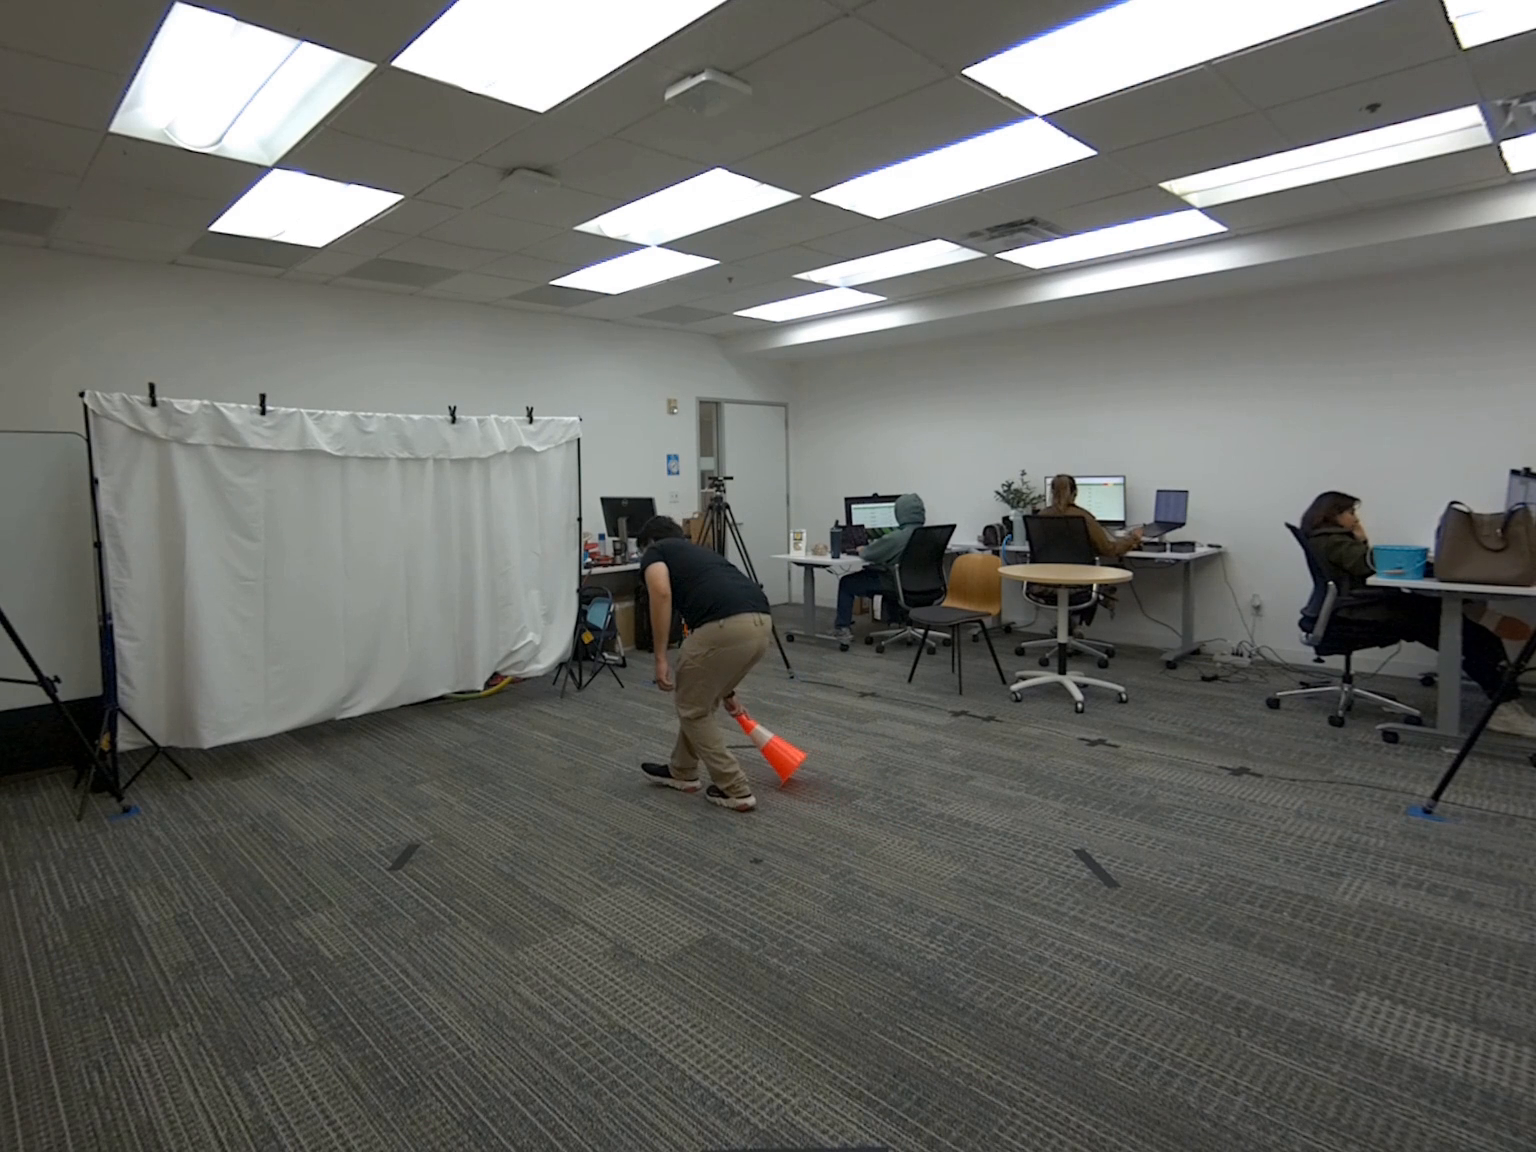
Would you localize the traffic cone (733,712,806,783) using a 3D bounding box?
[{"bbox_3d":[-0.019,0.745,3.907,0.390,0.204,0.200,41,17,12],"label":"traffic cone"}]
